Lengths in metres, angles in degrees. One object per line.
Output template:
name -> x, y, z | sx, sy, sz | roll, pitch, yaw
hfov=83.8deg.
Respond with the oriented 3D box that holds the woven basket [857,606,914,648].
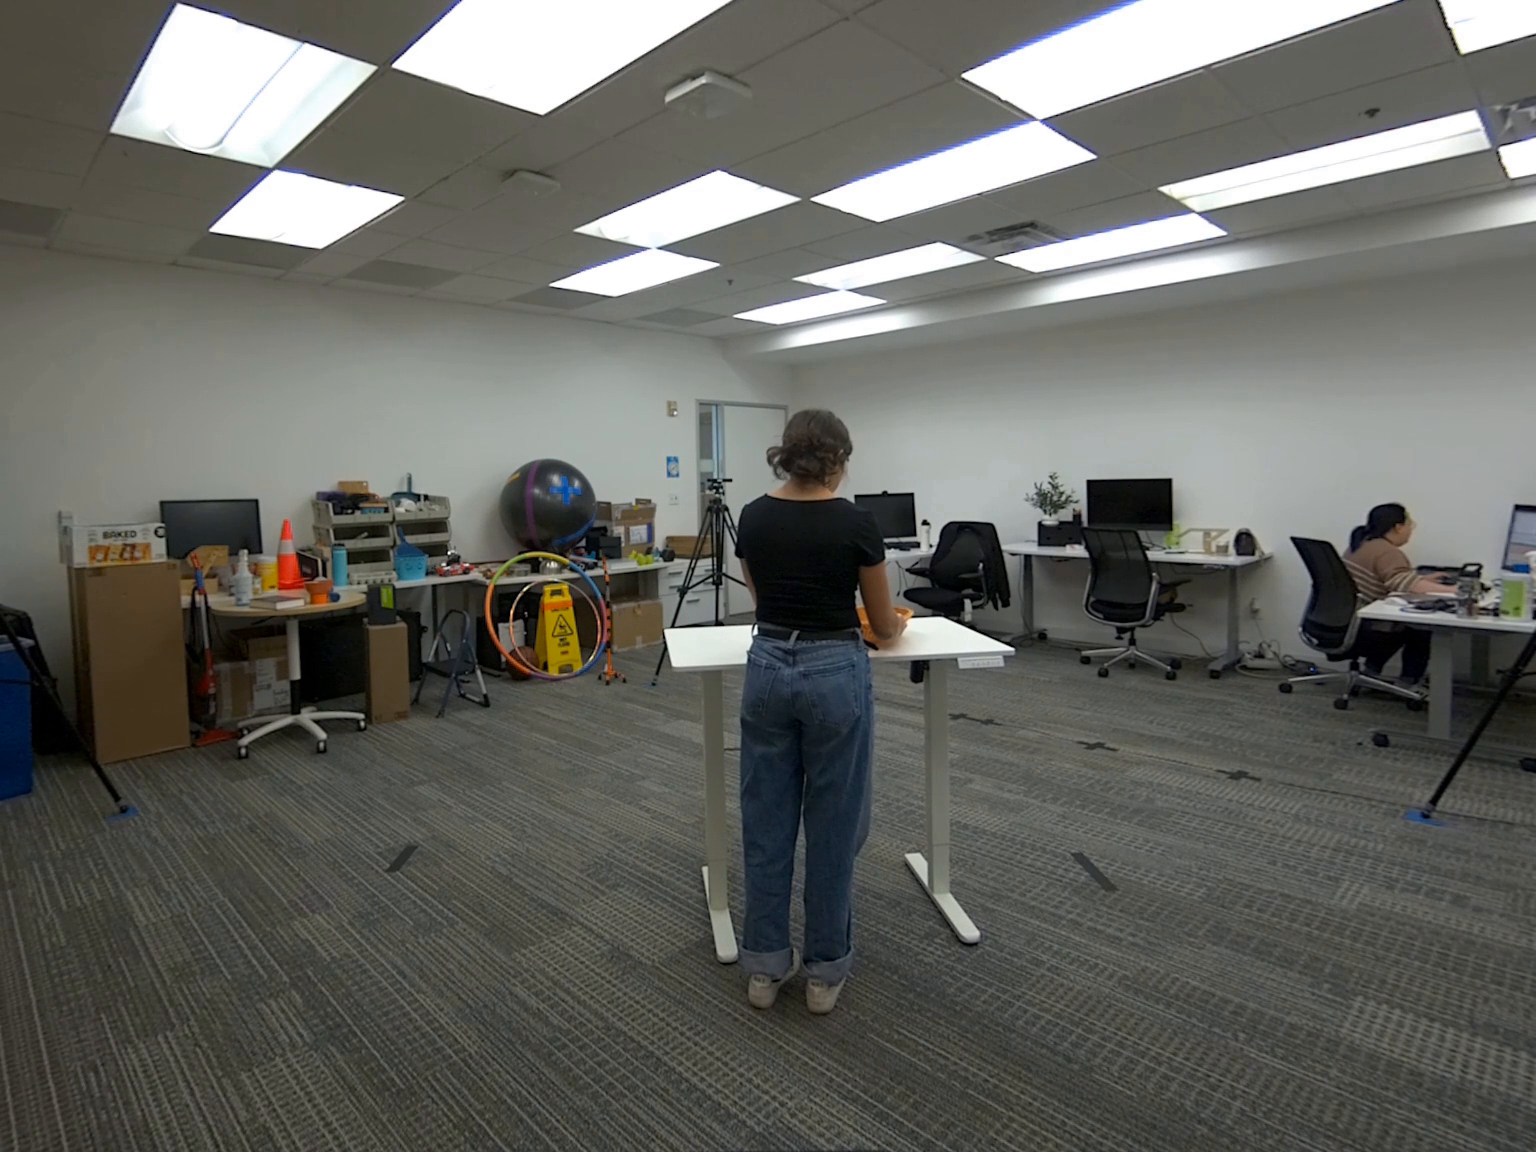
woven basket -> 0.342, 0.163, 2.679 | 0.256, 0.073, 0.347 | 0, 7, 15
